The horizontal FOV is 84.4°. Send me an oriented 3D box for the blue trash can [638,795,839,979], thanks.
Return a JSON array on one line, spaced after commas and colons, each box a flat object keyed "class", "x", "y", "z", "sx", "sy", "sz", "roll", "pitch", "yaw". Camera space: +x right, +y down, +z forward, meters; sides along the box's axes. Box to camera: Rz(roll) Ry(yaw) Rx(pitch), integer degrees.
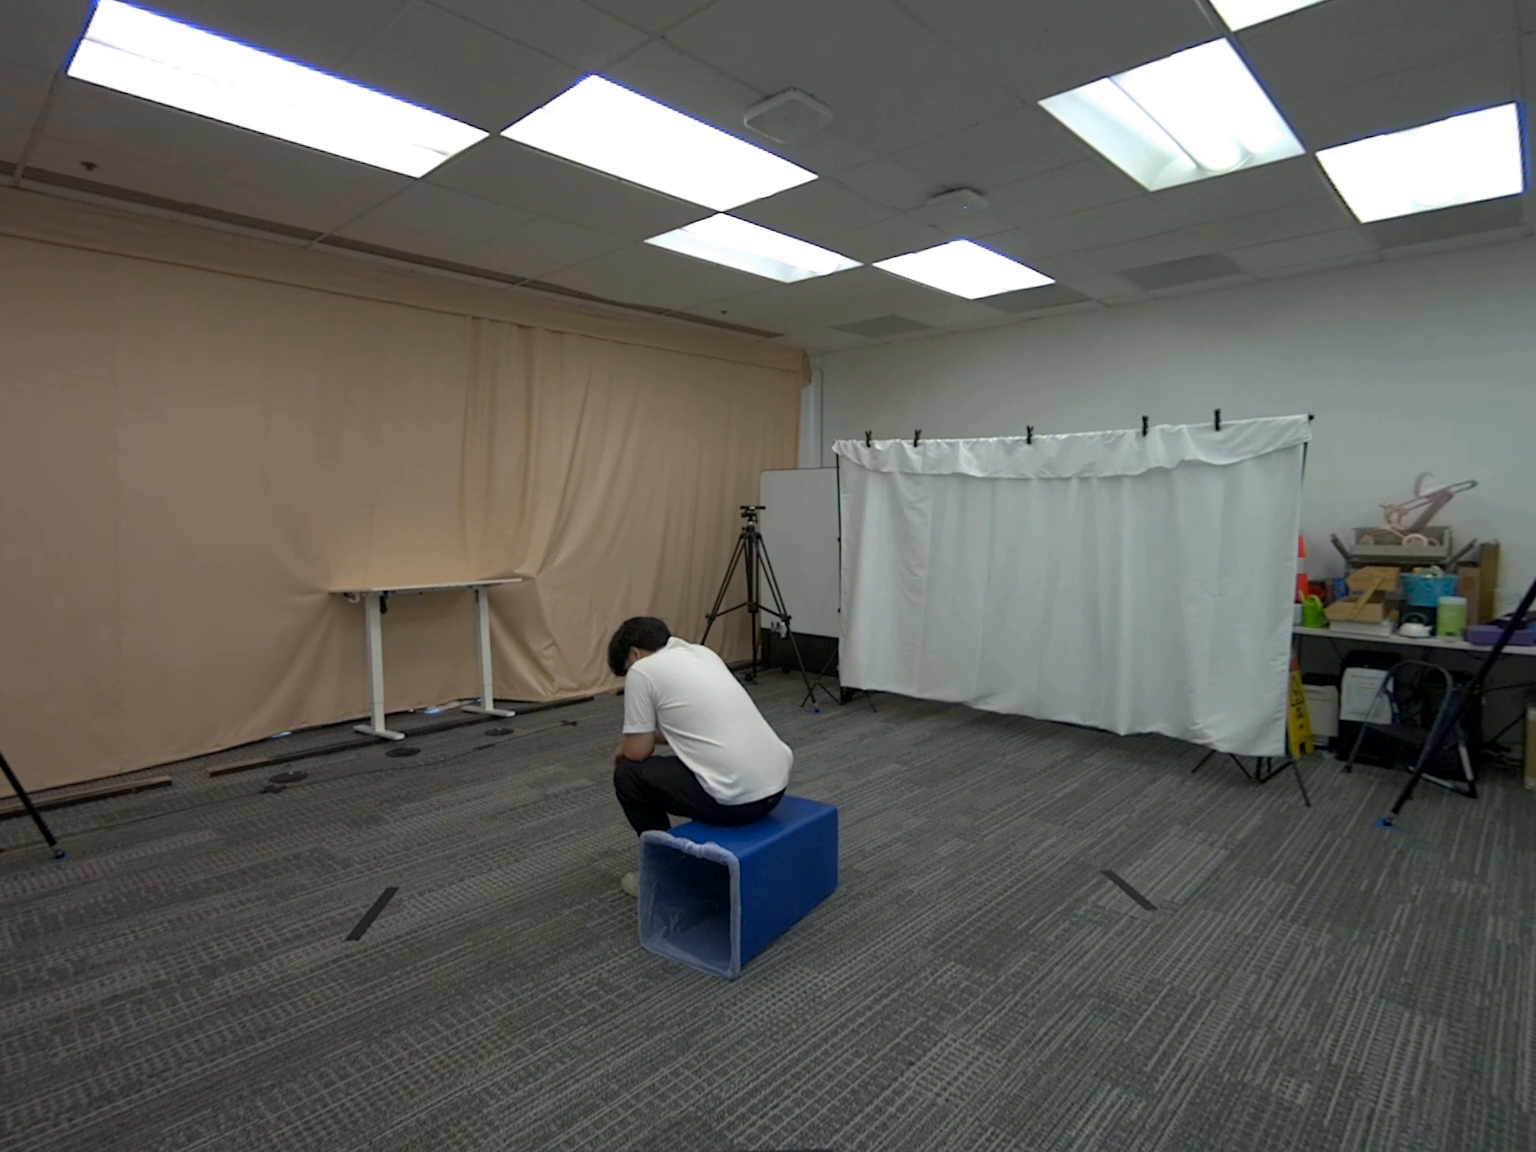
[{"class": "blue trash can", "x": -0.057, "y": 0.991, "z": 2.841, "sx": 0.389, "sy": 0.374, "sz": 0.692, "roll": 0, "pitch": 0, "yaw": 34}]
